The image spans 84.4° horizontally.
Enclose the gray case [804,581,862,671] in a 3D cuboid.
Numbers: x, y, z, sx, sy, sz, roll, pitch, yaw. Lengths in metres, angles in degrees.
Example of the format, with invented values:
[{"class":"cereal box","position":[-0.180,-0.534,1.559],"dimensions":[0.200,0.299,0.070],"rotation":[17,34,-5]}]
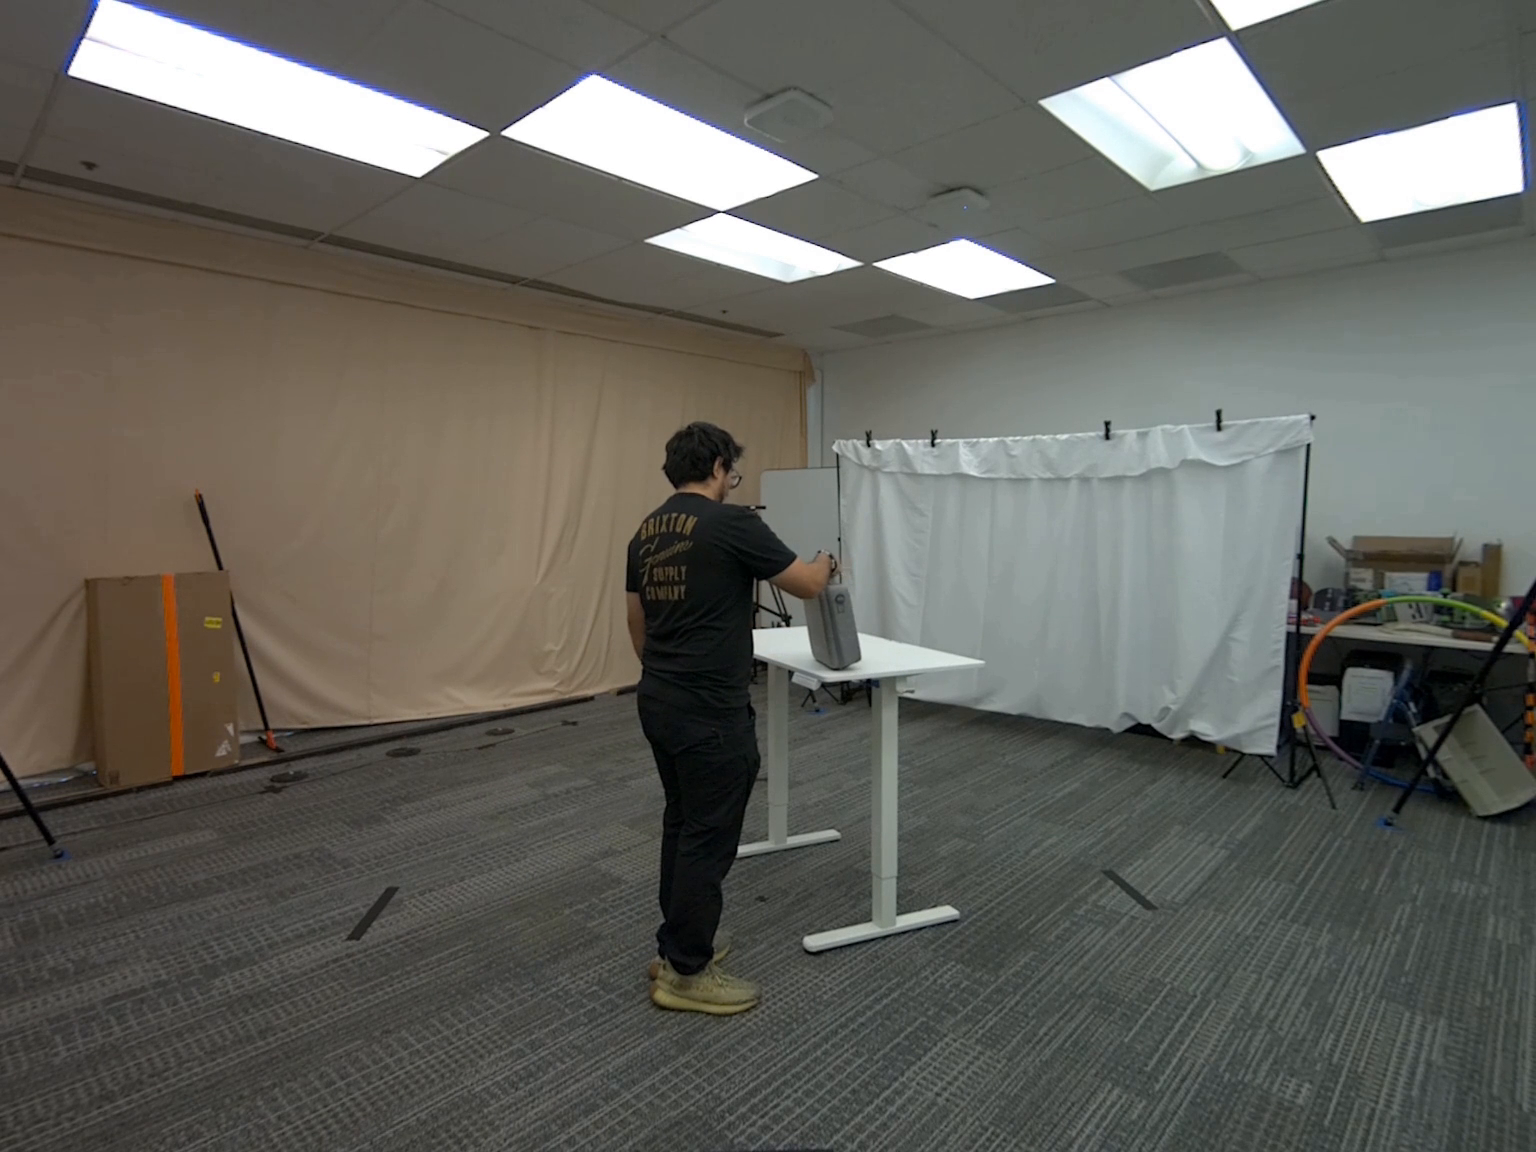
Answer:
[{"class":"gray case","position":[0.199,0.145,2.655],"dimensions":[0.103,0.260,0.259],"rotation":[-9,3,-10]}]
